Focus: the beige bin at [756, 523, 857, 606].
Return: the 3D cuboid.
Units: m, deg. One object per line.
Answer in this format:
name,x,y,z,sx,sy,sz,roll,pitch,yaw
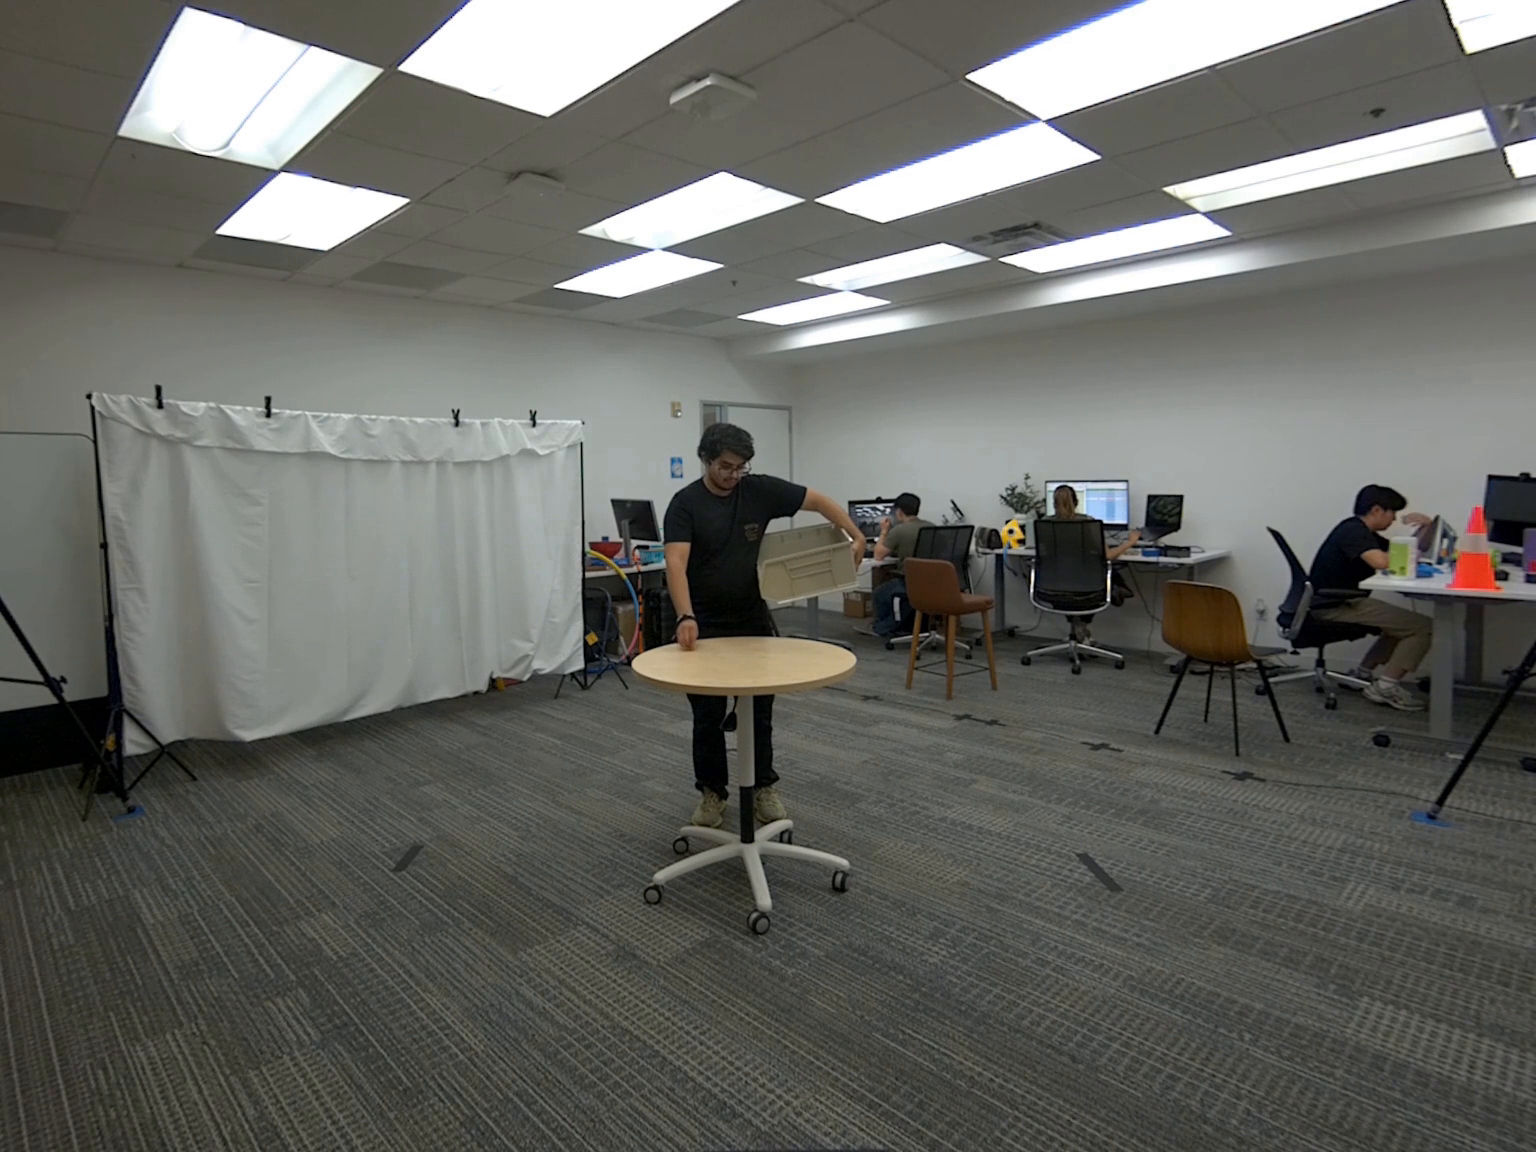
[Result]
beige bin,0.143,-0.057,3.390,0.378,0.186,0.428,-11,14,0
